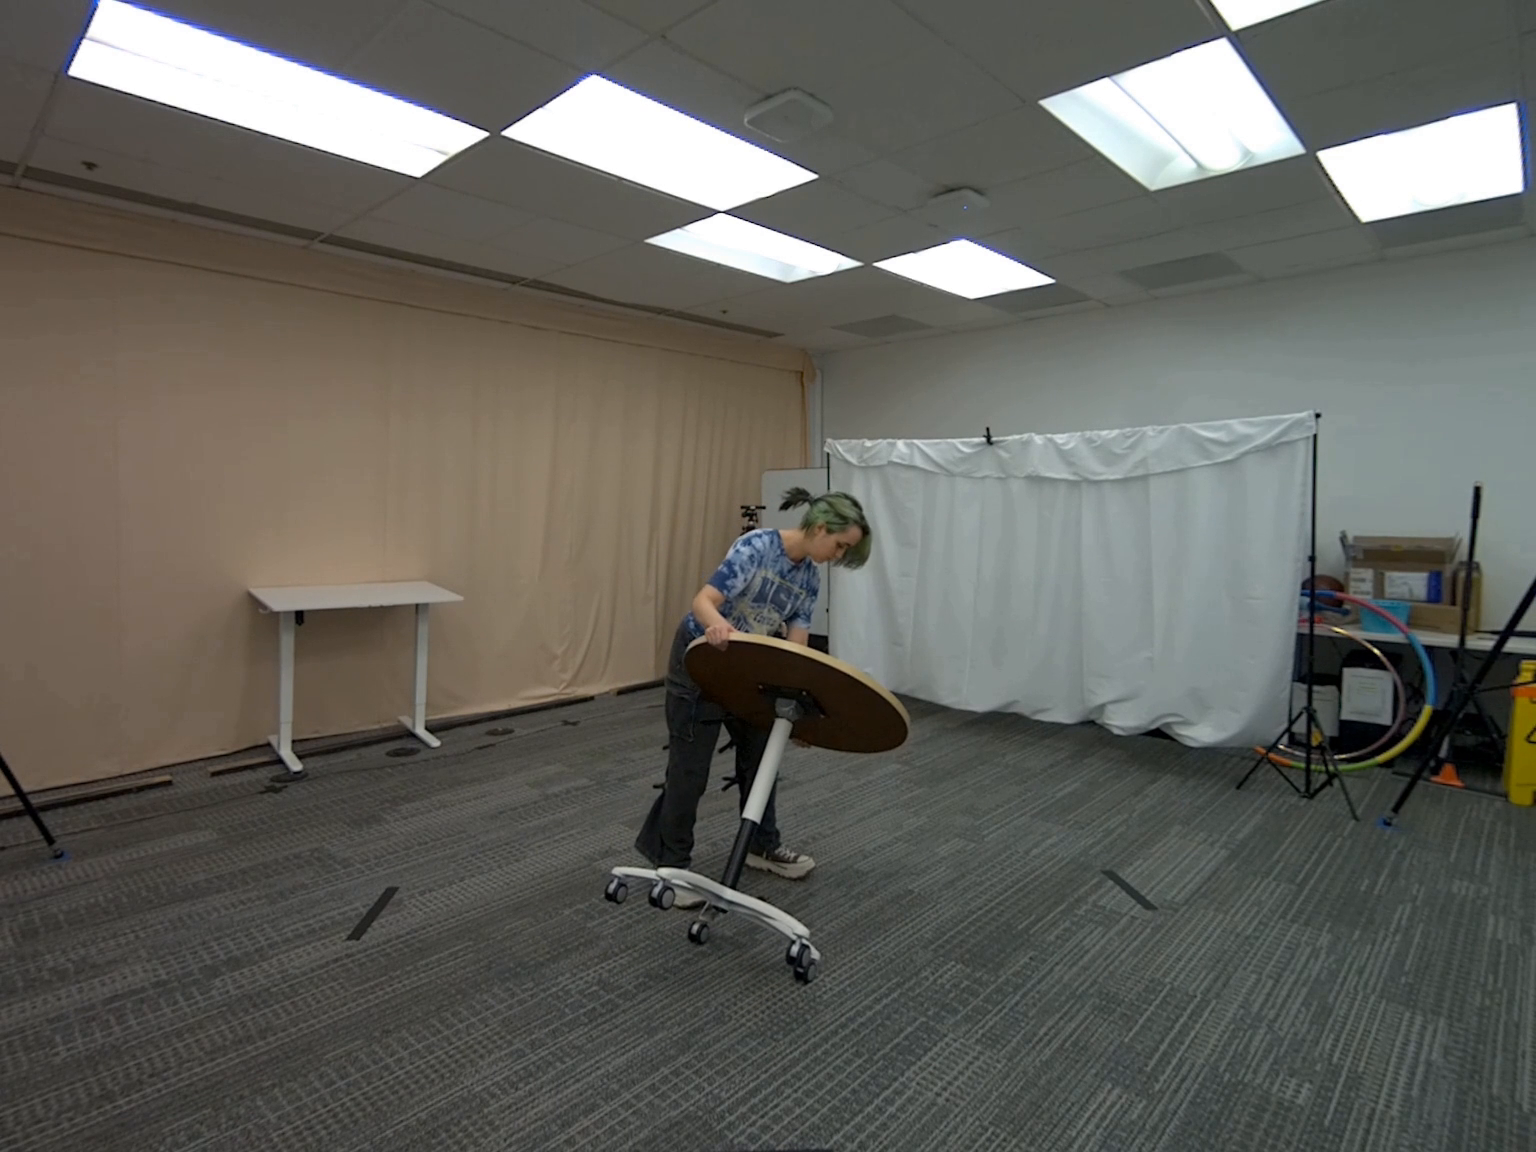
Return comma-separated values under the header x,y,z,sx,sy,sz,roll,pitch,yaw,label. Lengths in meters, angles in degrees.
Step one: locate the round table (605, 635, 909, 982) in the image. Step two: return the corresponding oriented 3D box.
x,y,z,sx,sy,sz,roll,pitch,yaw,label
-0.033,0.713,2.585,0.772,0.797,0.753,18,-27,8,round table
